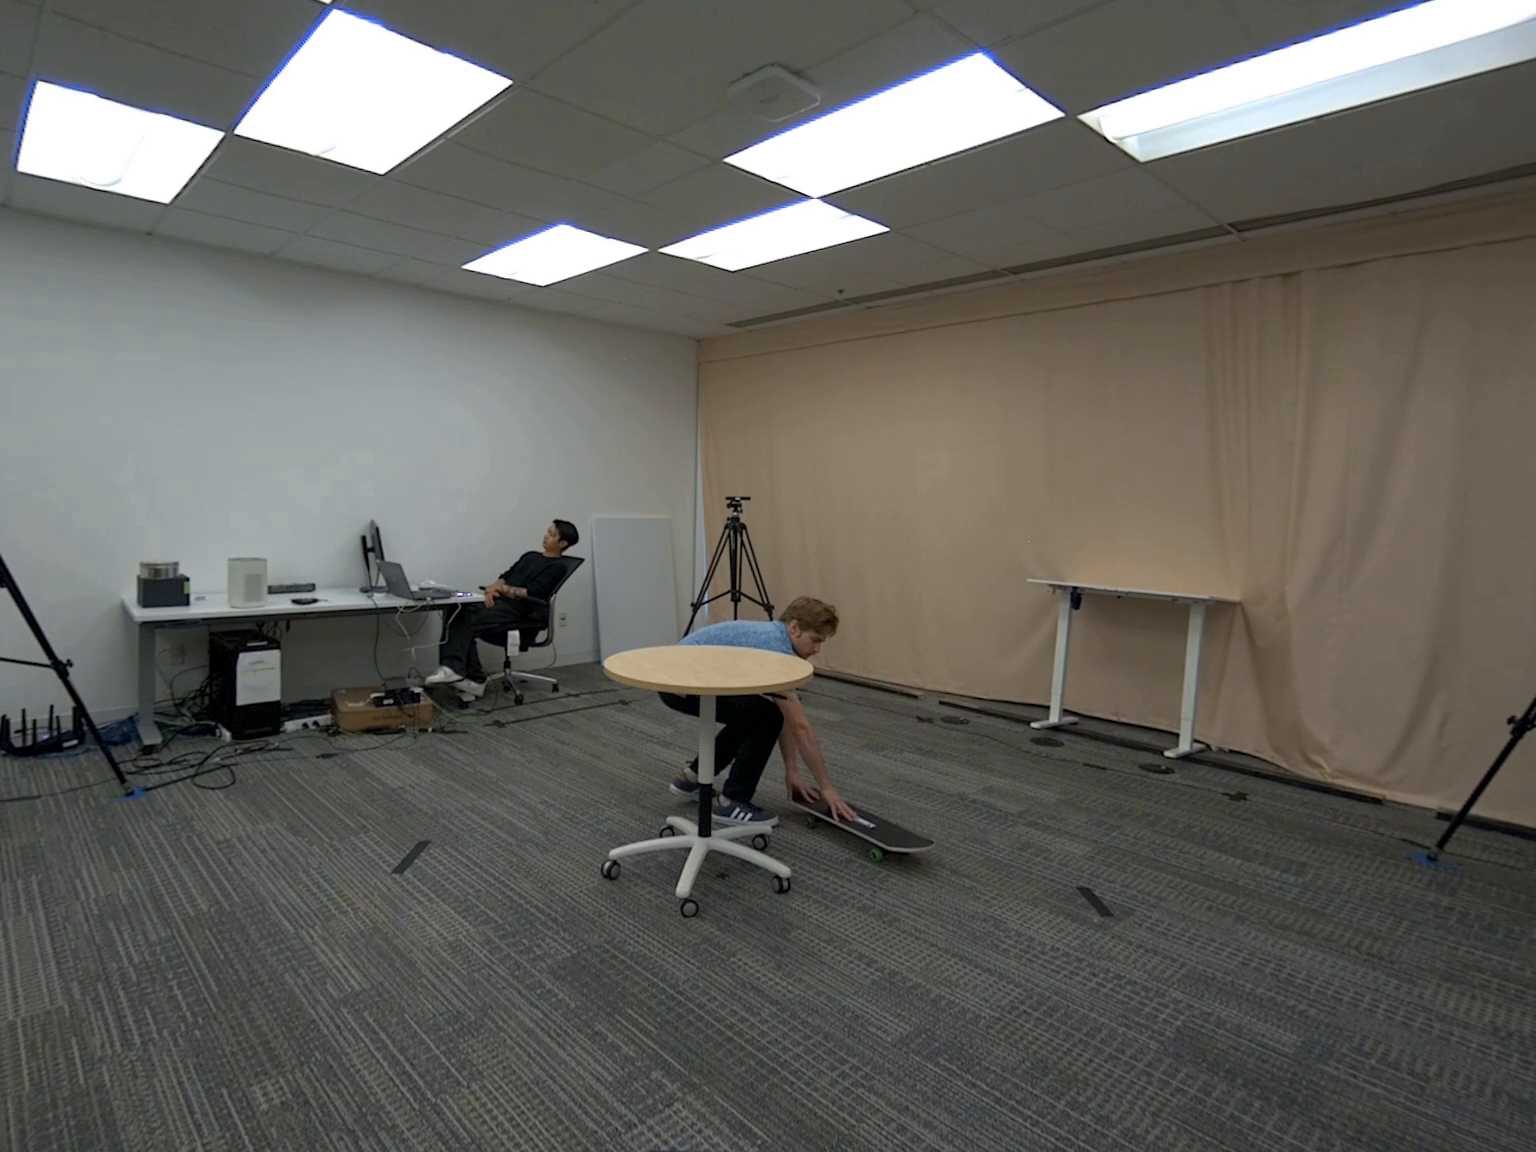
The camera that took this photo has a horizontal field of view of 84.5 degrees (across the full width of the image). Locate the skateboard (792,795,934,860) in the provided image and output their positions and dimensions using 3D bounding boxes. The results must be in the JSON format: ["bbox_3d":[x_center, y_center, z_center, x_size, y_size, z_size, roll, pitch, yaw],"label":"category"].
[{"bbox_3d":[0.353,1.032,3.469,0.189,0.110,0.804,-2,5,-35],"label":"skateboard"}]
